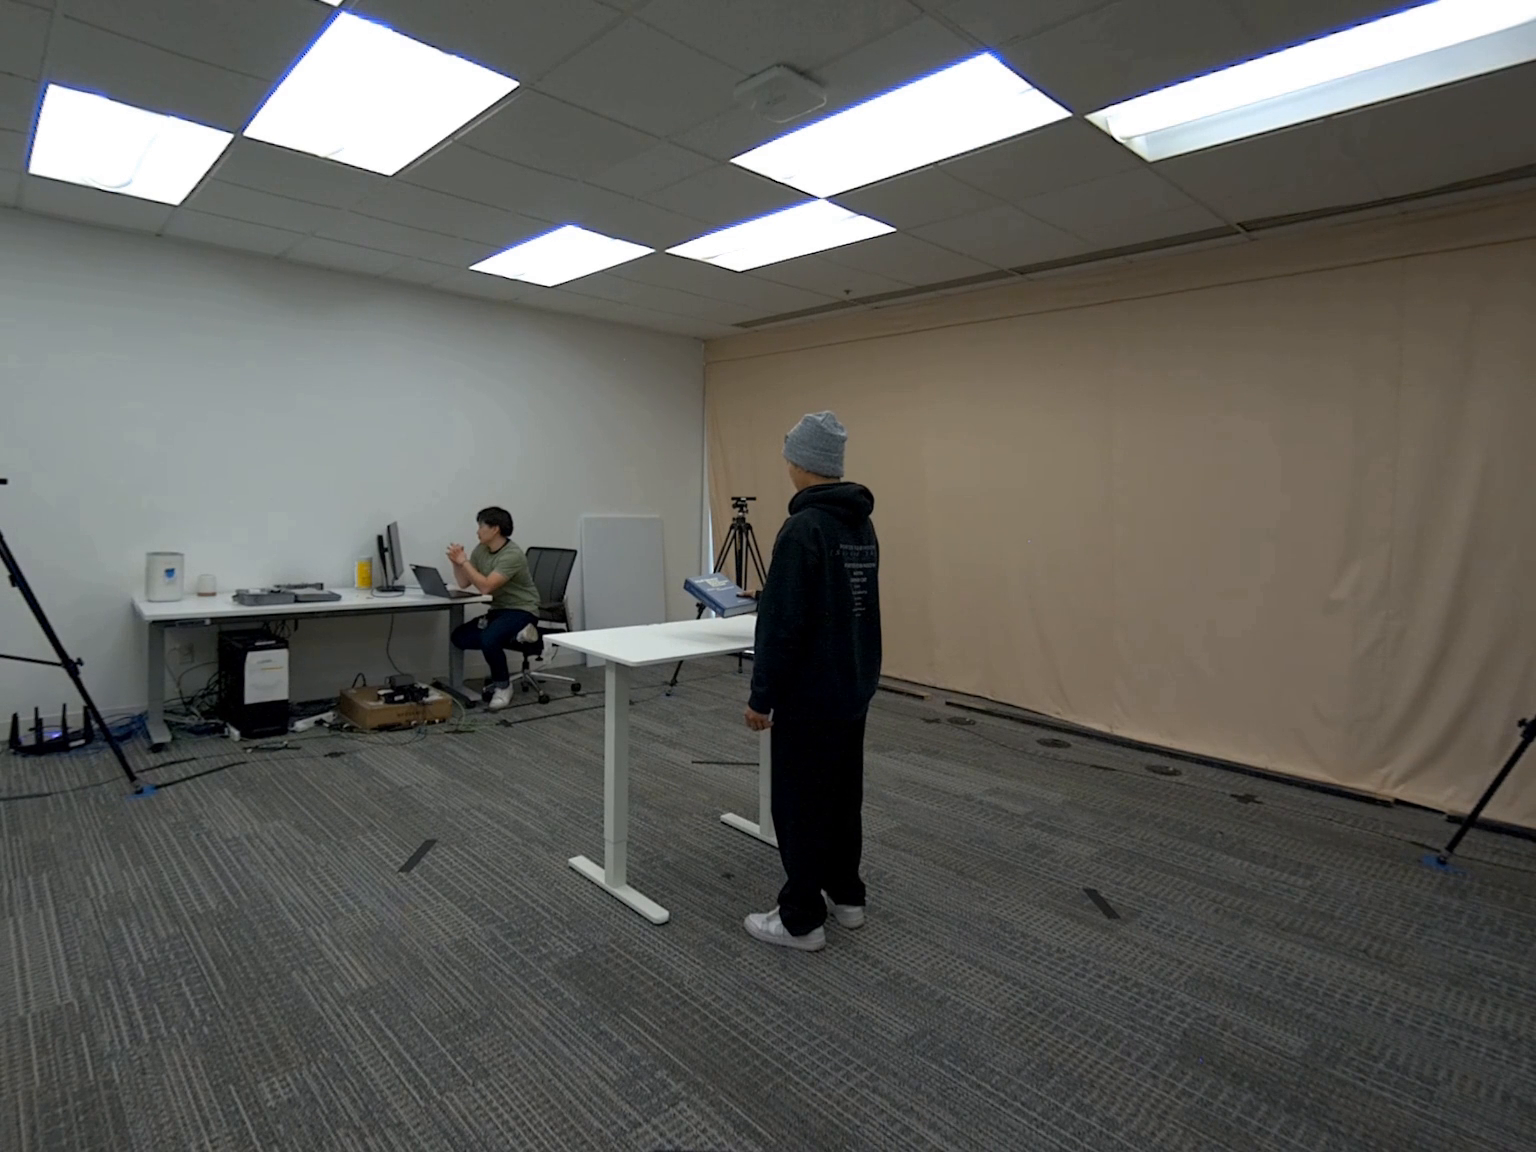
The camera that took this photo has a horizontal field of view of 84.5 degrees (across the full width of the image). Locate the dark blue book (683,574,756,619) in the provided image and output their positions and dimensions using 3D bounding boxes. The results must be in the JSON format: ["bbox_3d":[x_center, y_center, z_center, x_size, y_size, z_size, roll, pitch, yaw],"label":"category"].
[{"bbox_3d":[-0.178,0.071,3.094,0.160,0.044,0.253,-10,31,-40],"label":"dark blue book"}]
